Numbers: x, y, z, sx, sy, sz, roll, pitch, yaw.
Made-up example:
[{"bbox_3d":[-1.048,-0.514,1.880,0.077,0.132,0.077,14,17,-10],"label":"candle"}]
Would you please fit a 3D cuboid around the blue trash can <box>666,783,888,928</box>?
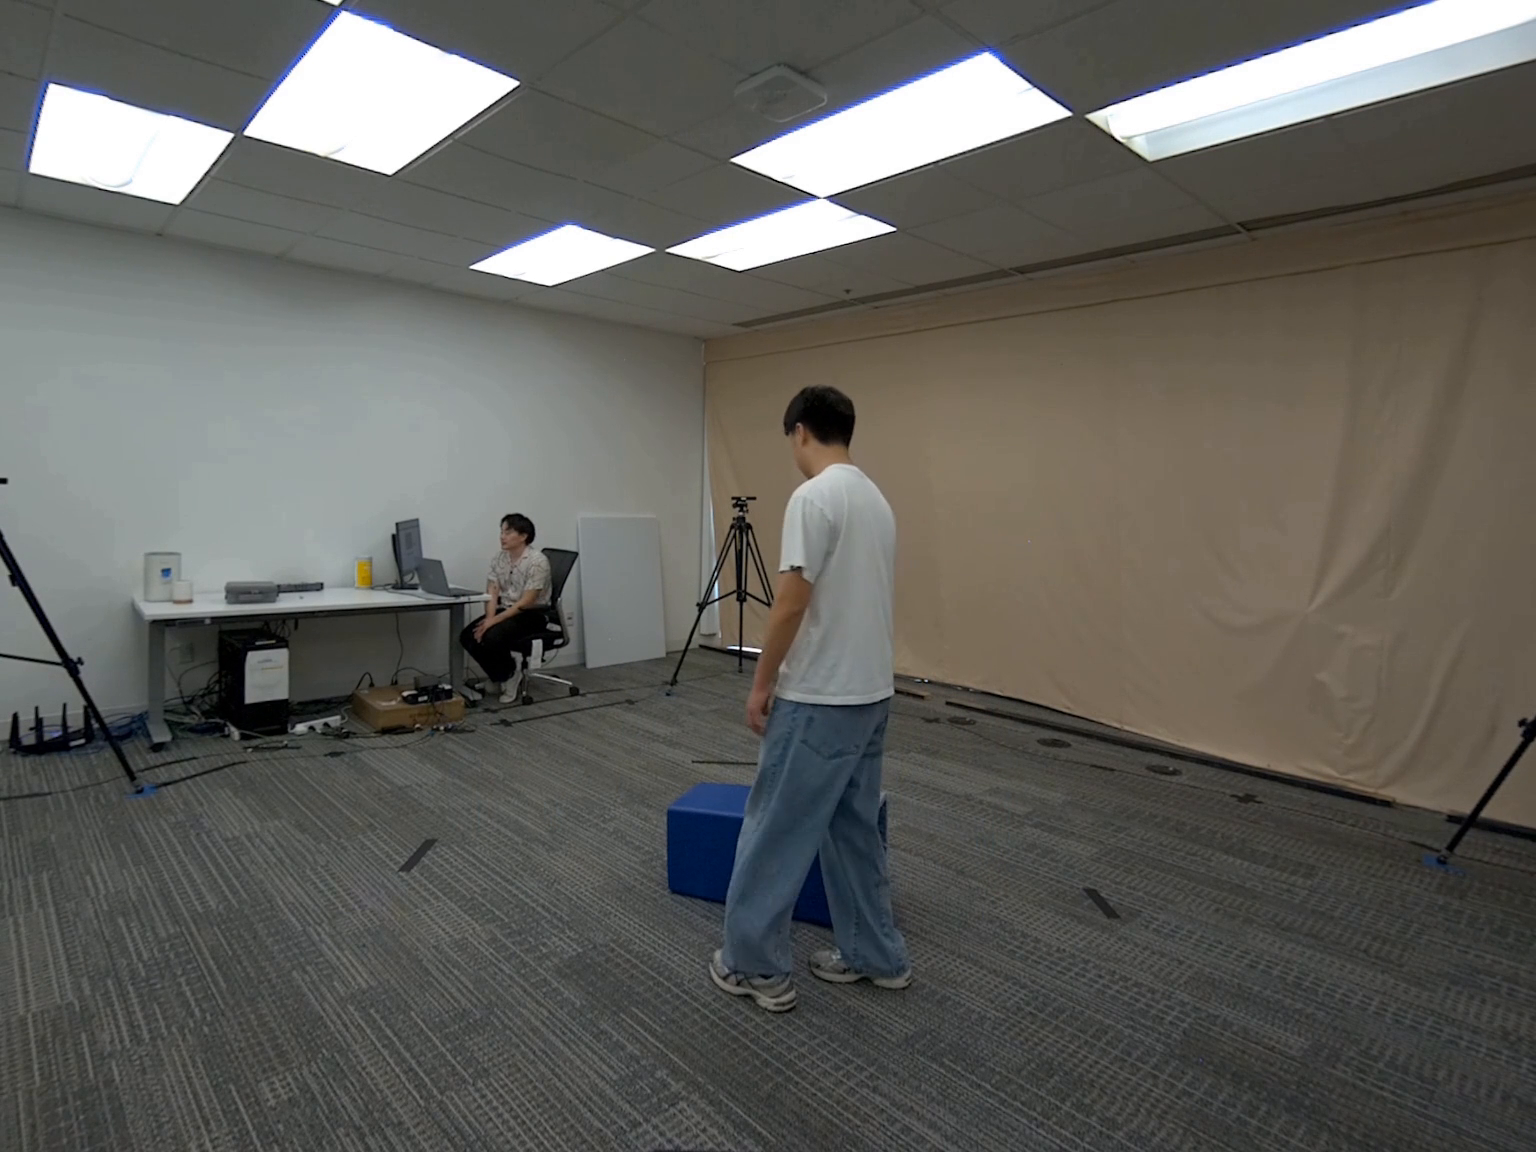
[{"bbox_3d":[0.029,0.958,2.947,0.725,0.377,0.369,1,4,21],"label":"blue trash can"}]
